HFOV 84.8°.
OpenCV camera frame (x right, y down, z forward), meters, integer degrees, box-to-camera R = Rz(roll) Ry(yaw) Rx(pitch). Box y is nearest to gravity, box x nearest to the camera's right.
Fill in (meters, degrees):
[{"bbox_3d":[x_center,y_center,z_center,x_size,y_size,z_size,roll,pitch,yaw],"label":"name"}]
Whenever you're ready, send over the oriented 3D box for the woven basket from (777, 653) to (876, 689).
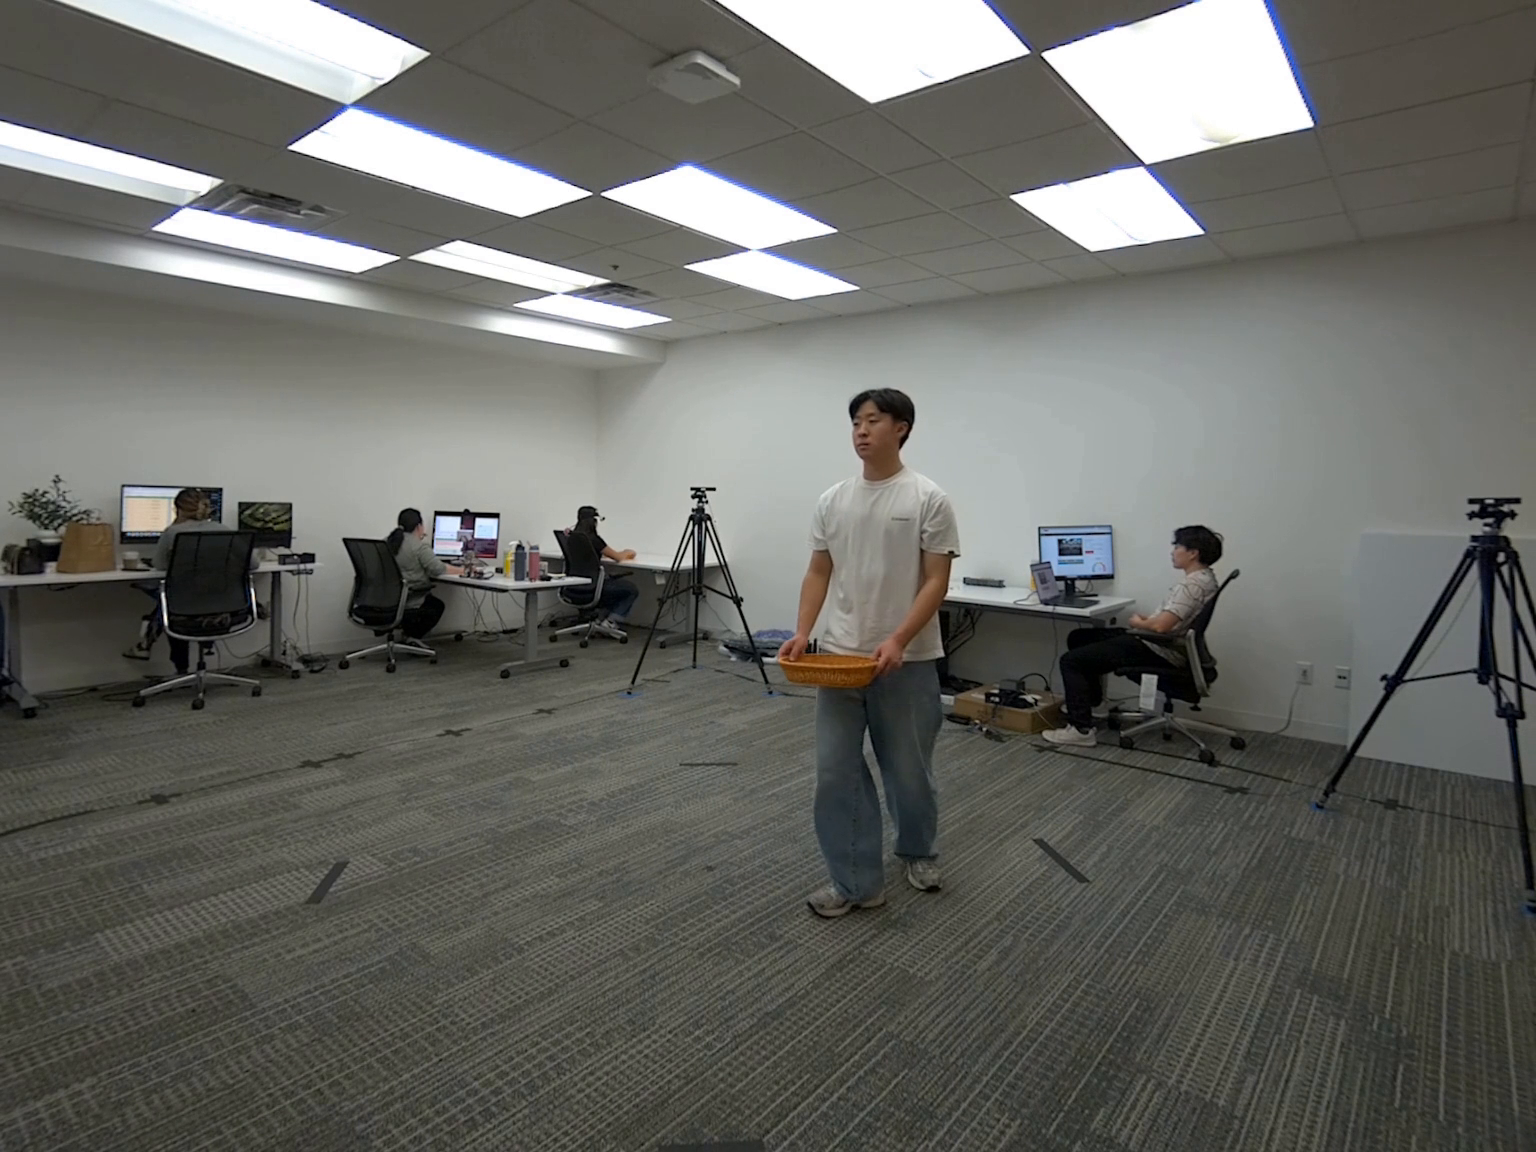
[{"bbox_3d":[0.199,0.300,2.733,0.245,0.073,0.361,-3,2,-42],"label":"woven basket"}]
